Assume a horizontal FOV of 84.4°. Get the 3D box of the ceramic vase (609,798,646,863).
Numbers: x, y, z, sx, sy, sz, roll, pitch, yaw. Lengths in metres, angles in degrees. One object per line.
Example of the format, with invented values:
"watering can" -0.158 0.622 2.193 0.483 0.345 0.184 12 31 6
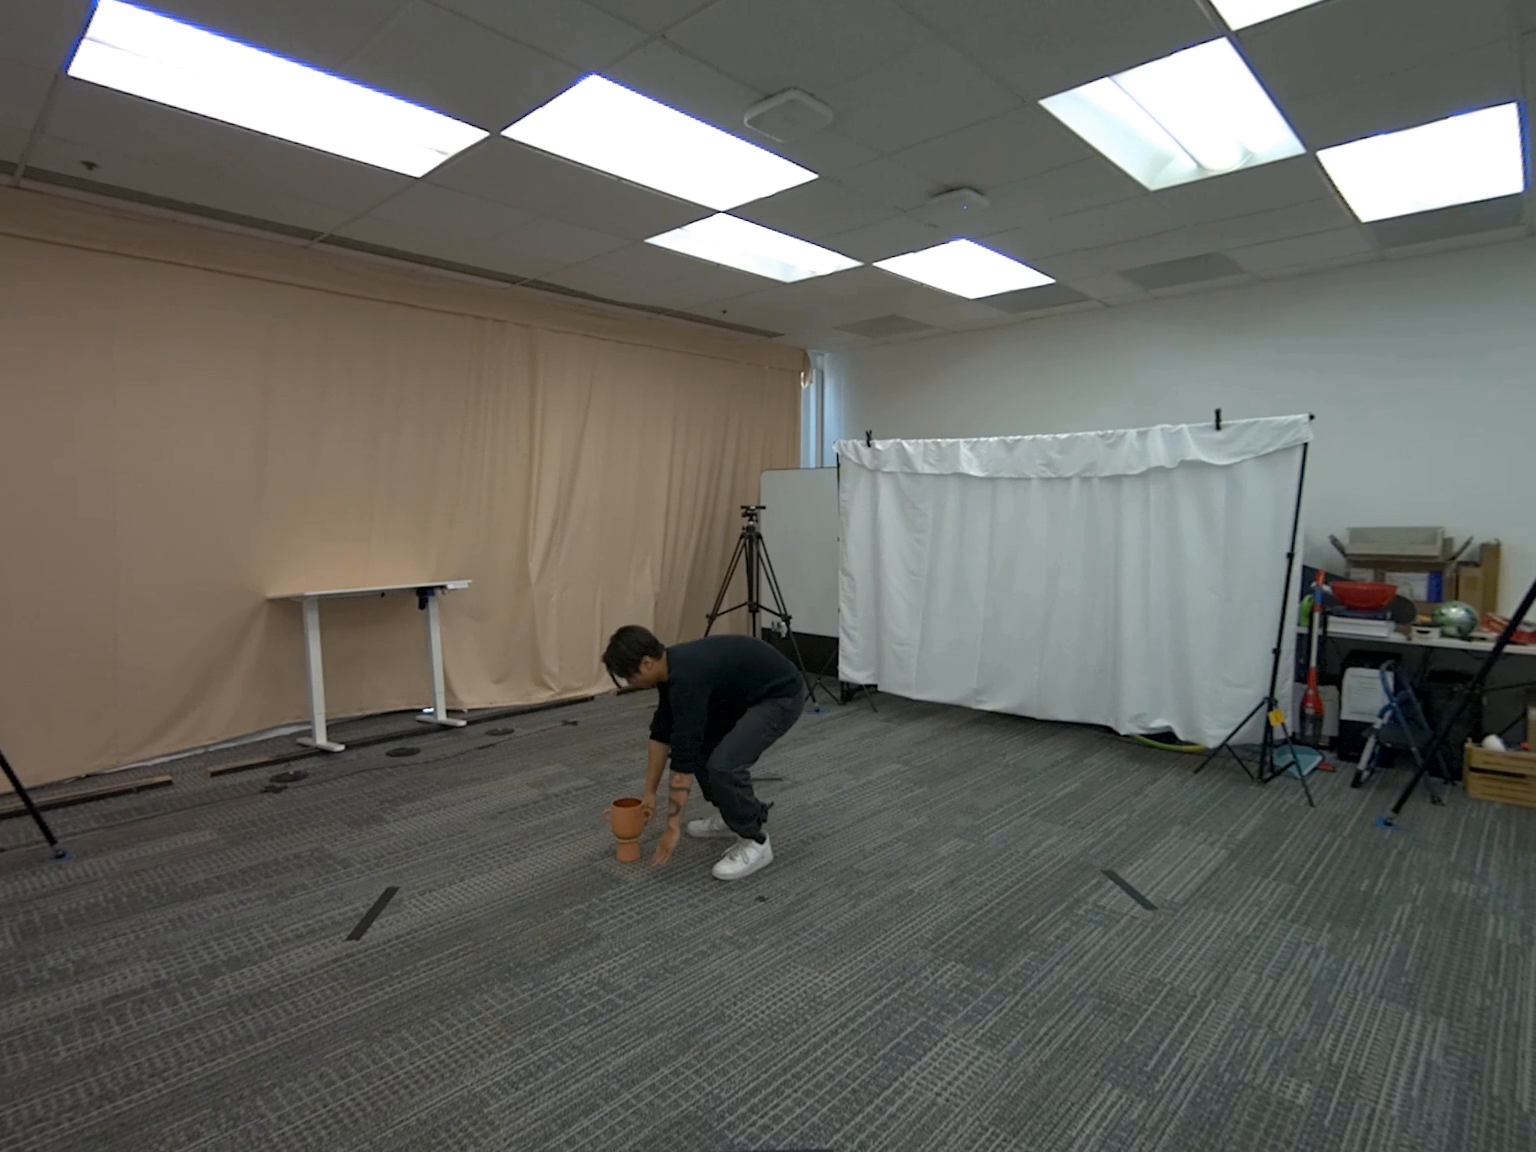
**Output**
"ceramic vase" -0.555 1.003 3.342 0.164 0.219 0.130 3 4 40
